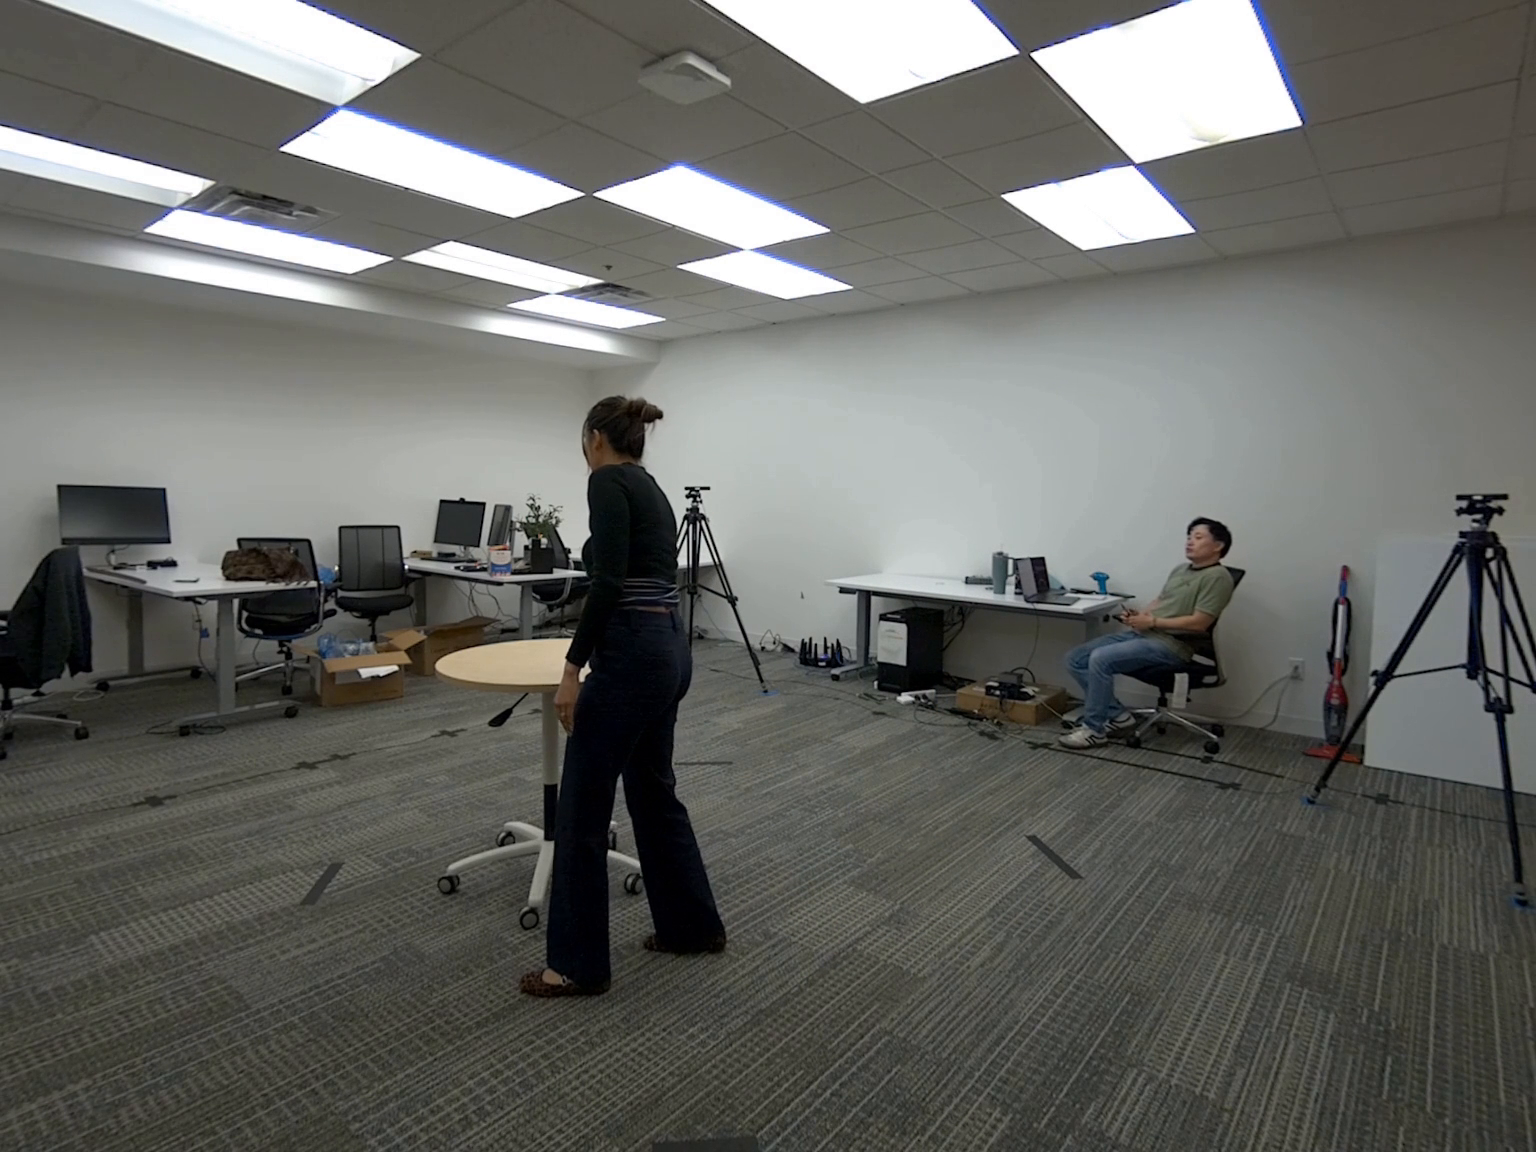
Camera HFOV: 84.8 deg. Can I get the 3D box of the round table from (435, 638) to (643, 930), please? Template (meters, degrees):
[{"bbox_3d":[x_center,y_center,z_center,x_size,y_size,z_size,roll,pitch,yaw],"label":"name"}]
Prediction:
[{"bbox_3d":[-0.780,0.680,2.996,0.763,0.791,0.768,0,5,-2],"label":"round table"}]
